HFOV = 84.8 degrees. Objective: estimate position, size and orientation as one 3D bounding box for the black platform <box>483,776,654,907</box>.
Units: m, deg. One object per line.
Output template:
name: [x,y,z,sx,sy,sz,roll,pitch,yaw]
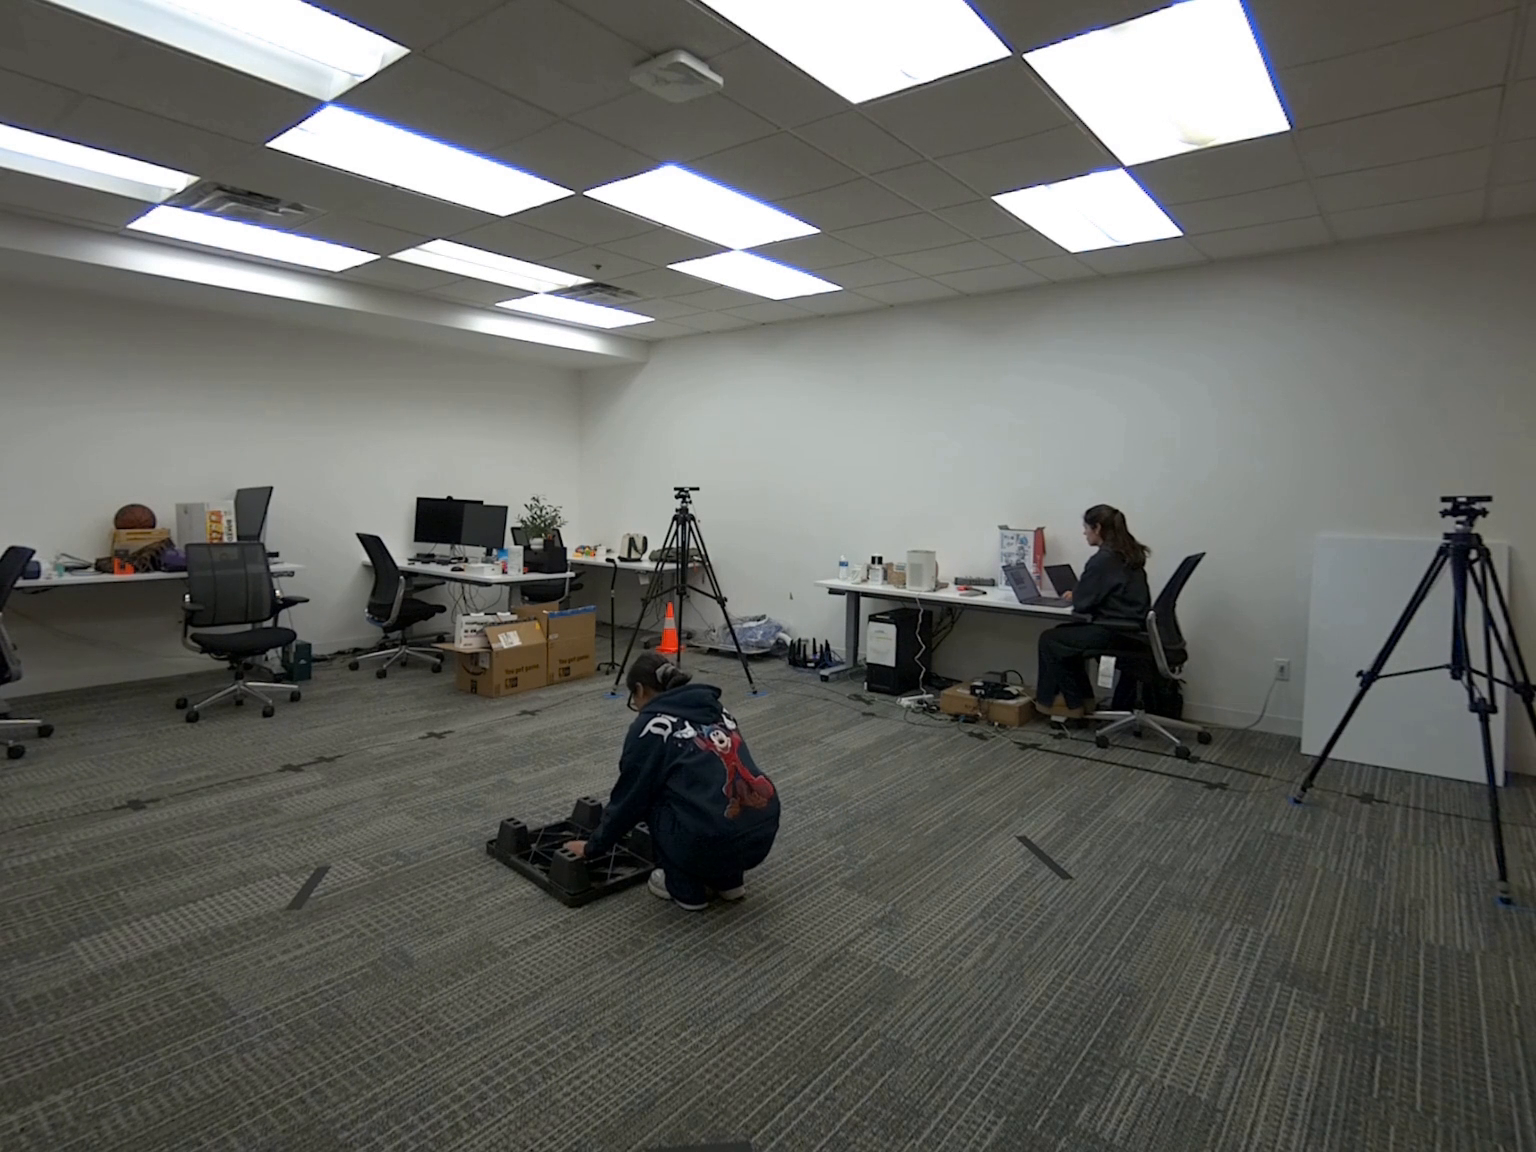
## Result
black platform: [-0.591,0.973,3.264,0.781,0.143,0.626,-5,7,-45]
